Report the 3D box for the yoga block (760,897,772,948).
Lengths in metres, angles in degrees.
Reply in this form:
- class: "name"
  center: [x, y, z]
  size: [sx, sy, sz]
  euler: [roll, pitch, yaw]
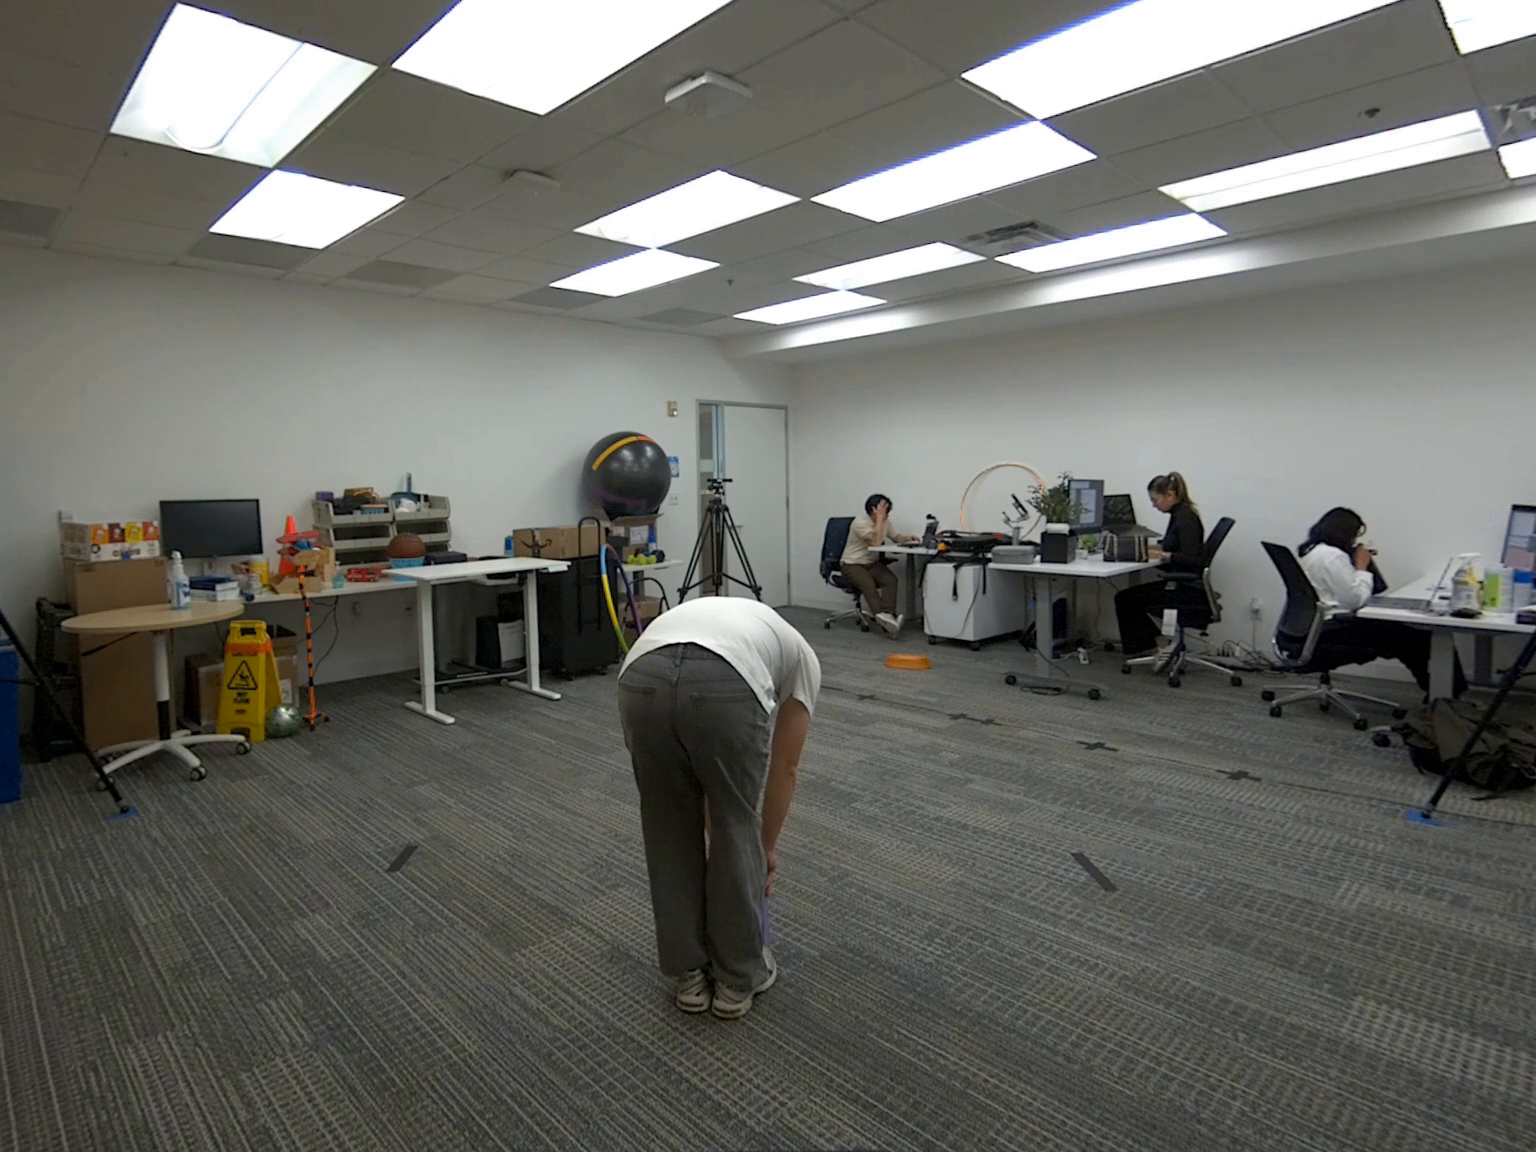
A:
- class: "yoga block"
  center: [-0.060, 1.009, 2.547]
  size: [0.150, 0.229, 0.076]
  euler: [0, 3, 9]
